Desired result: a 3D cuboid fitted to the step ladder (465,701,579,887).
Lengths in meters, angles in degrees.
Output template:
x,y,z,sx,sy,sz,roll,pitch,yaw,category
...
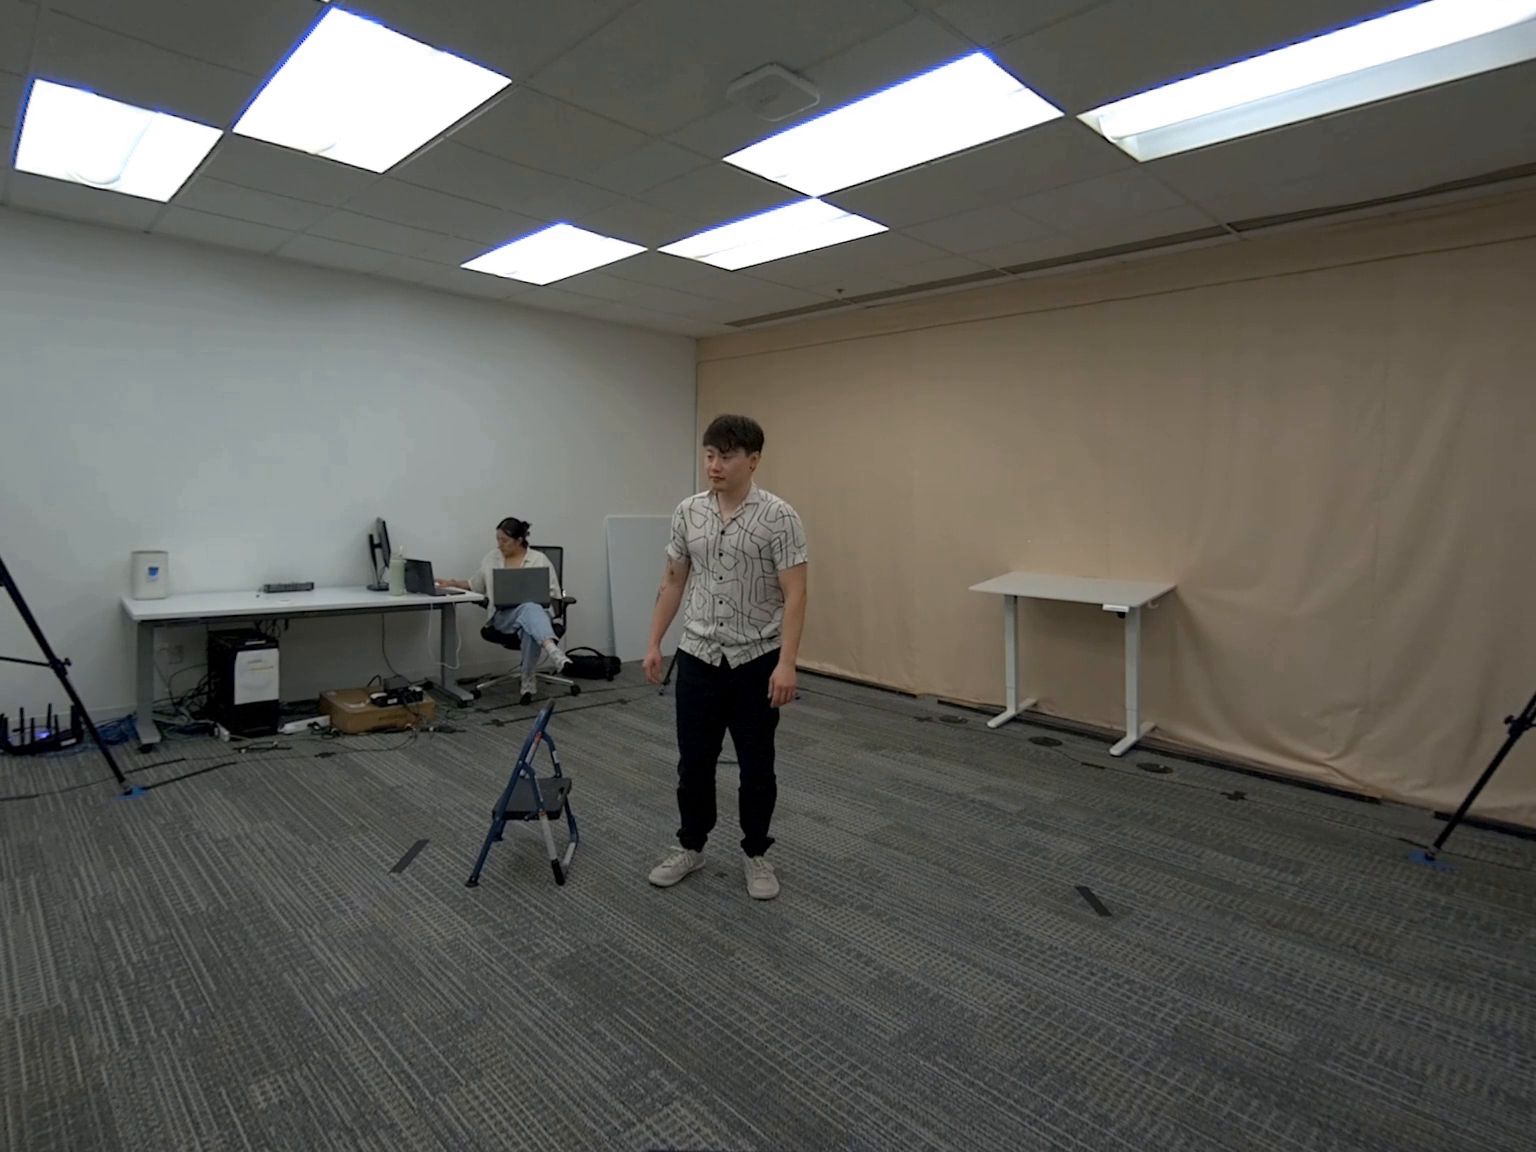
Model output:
x,y,z,sx,sy,sz,roll,pitch,yaw,category
-0.911,0.781,3.167,0.348,0.604,0.433,1,4,-5,step ladder
